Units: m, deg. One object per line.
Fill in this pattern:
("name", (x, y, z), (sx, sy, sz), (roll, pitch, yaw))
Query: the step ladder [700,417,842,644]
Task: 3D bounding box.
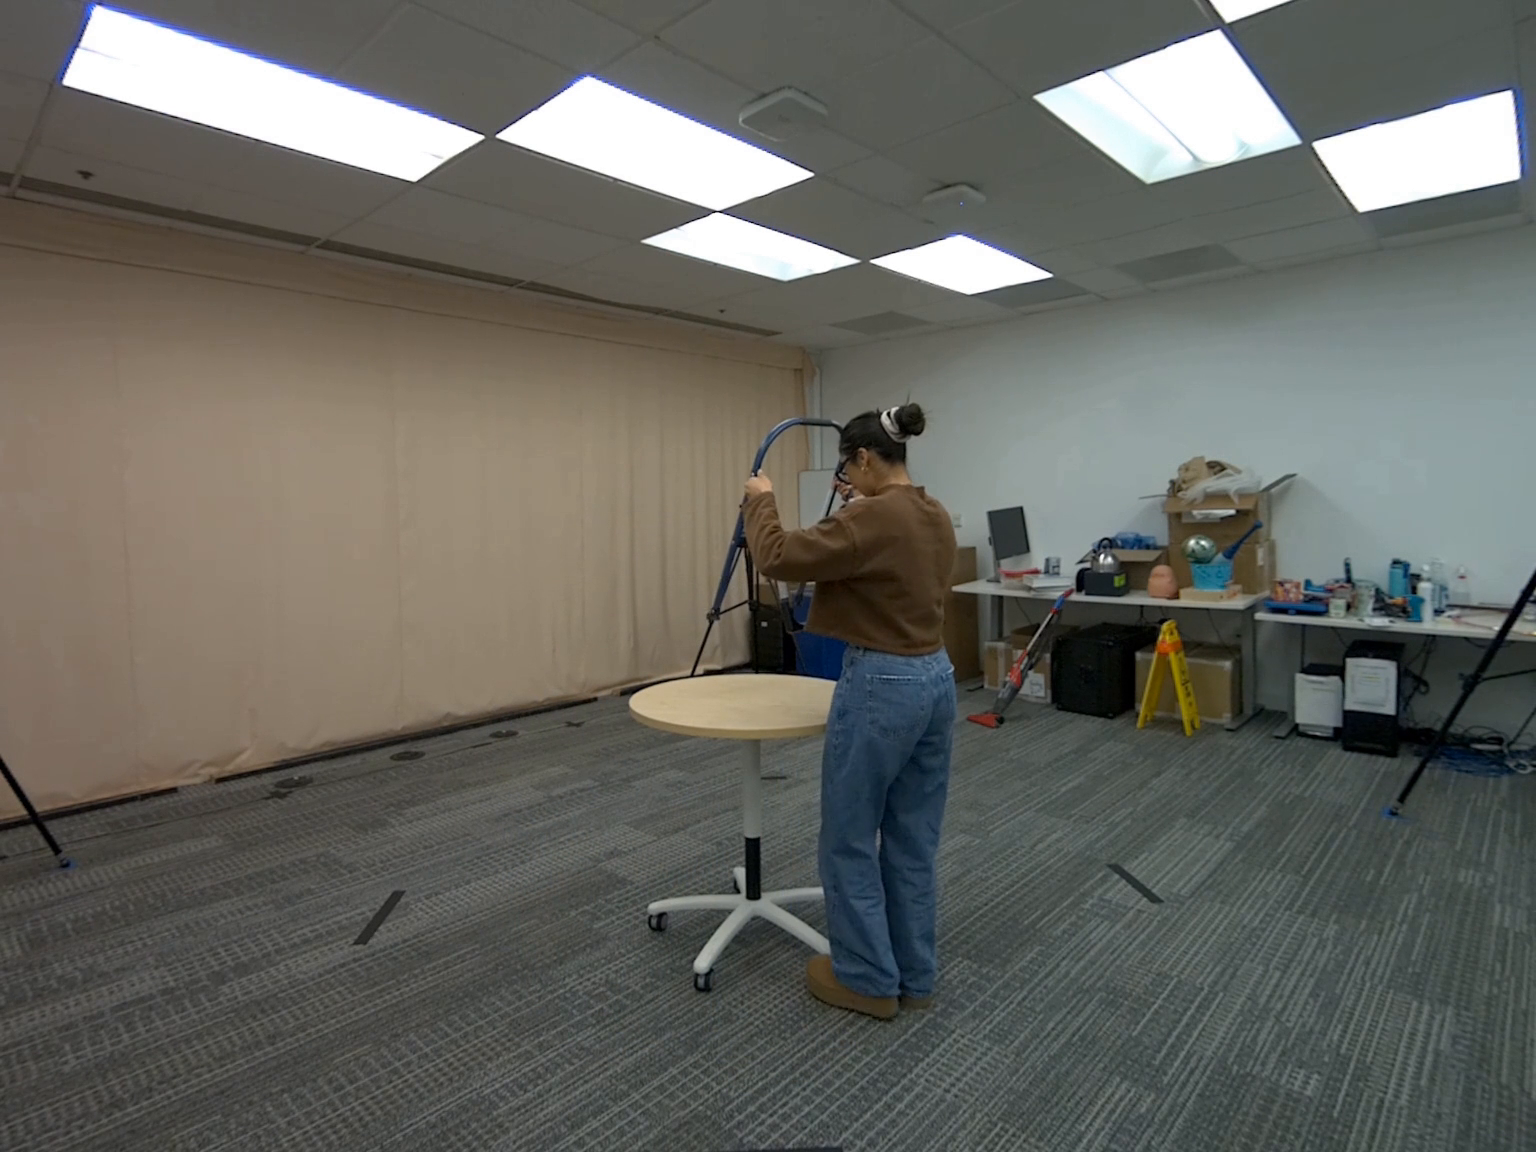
("step ladder", (0.082, -0.173, 2.567), (0.361, 0.604, 0.418), (4, 7, 43))
